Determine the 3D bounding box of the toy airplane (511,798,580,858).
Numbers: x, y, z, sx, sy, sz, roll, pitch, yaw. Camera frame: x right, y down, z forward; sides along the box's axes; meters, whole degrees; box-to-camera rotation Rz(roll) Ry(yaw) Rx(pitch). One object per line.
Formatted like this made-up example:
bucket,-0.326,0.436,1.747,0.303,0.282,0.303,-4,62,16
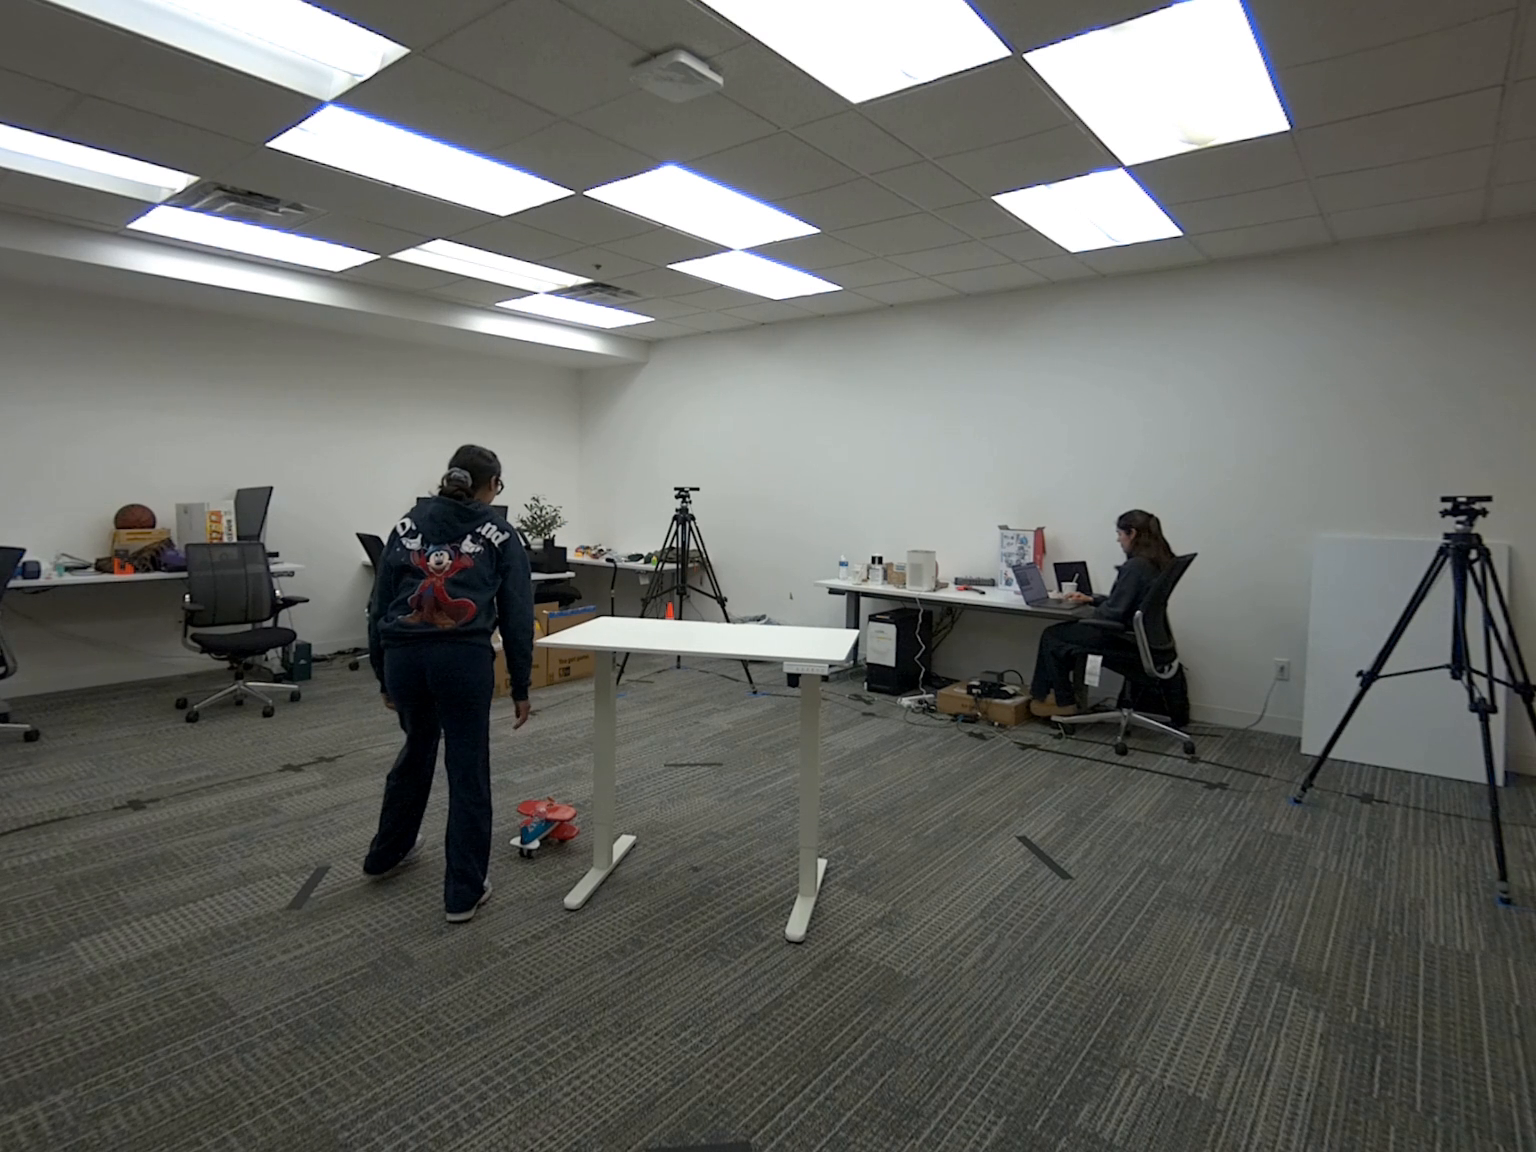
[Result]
toy airplane,-0.852,0.971,3.259,0.250,0.156,0.261,0,4,-6
